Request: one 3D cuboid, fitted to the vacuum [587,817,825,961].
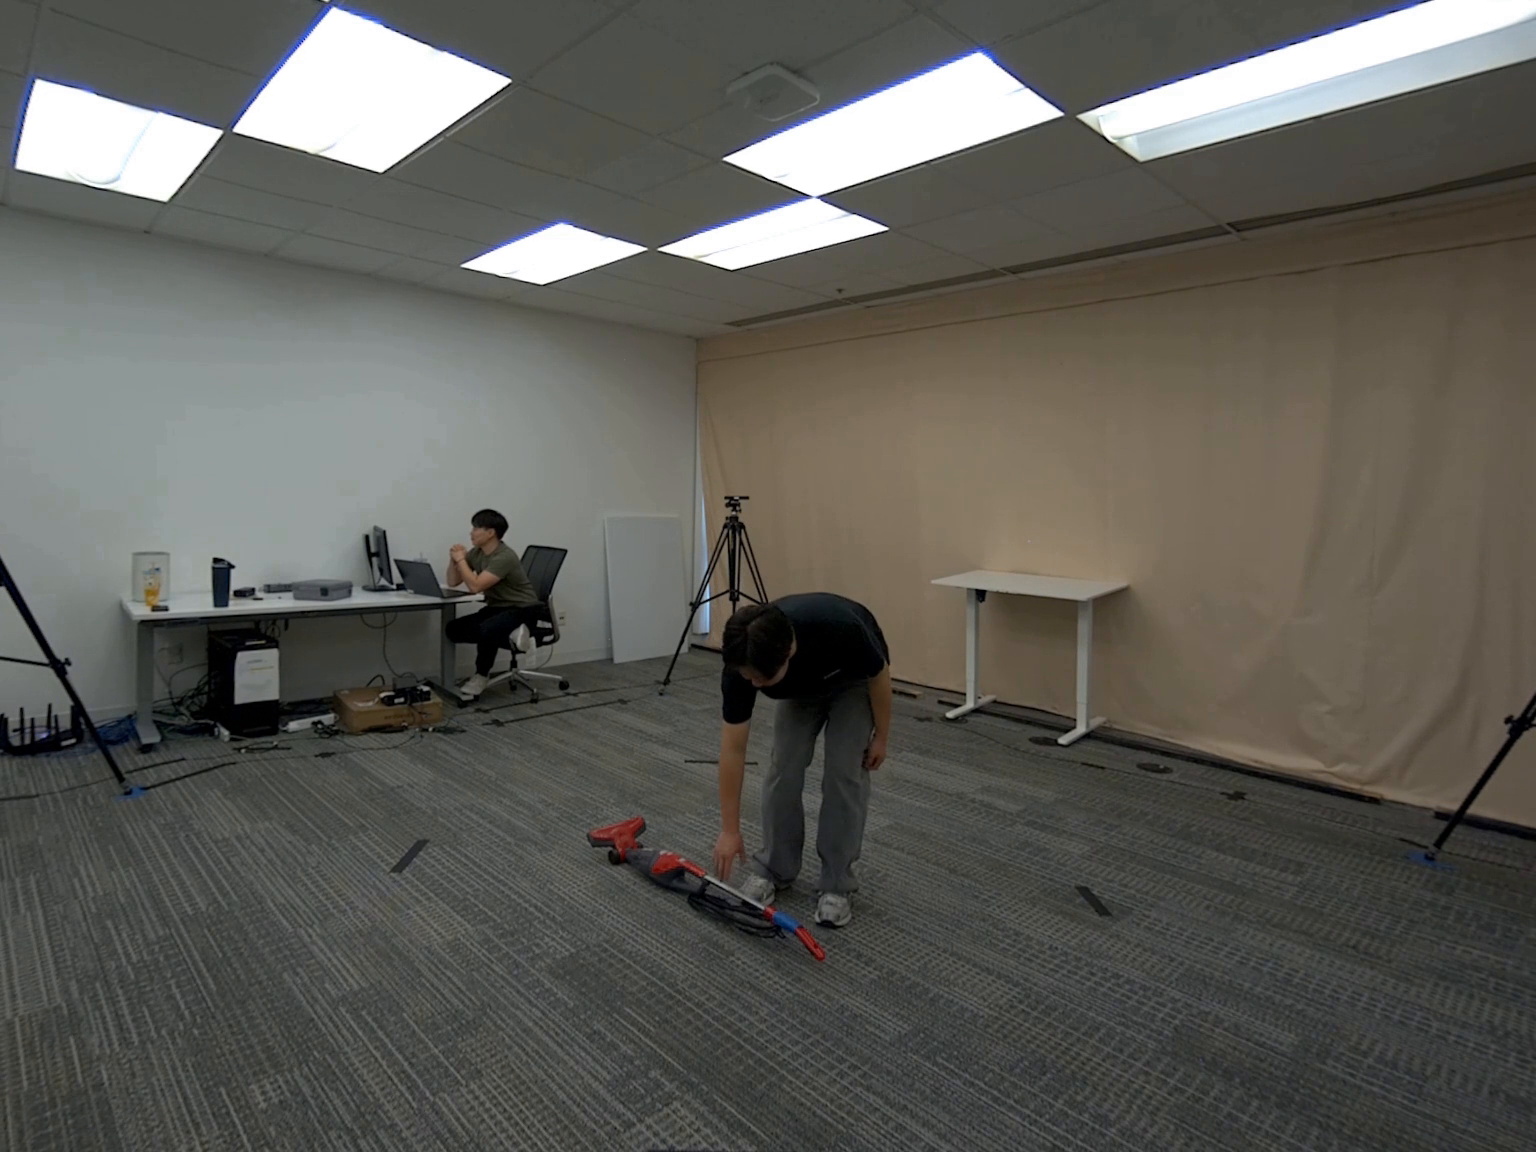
[{"bbox_3d":[-0.220,1.072,2.854,0.247,0.143,1.076,-4,7,-41],"label":"vacuum"}]
